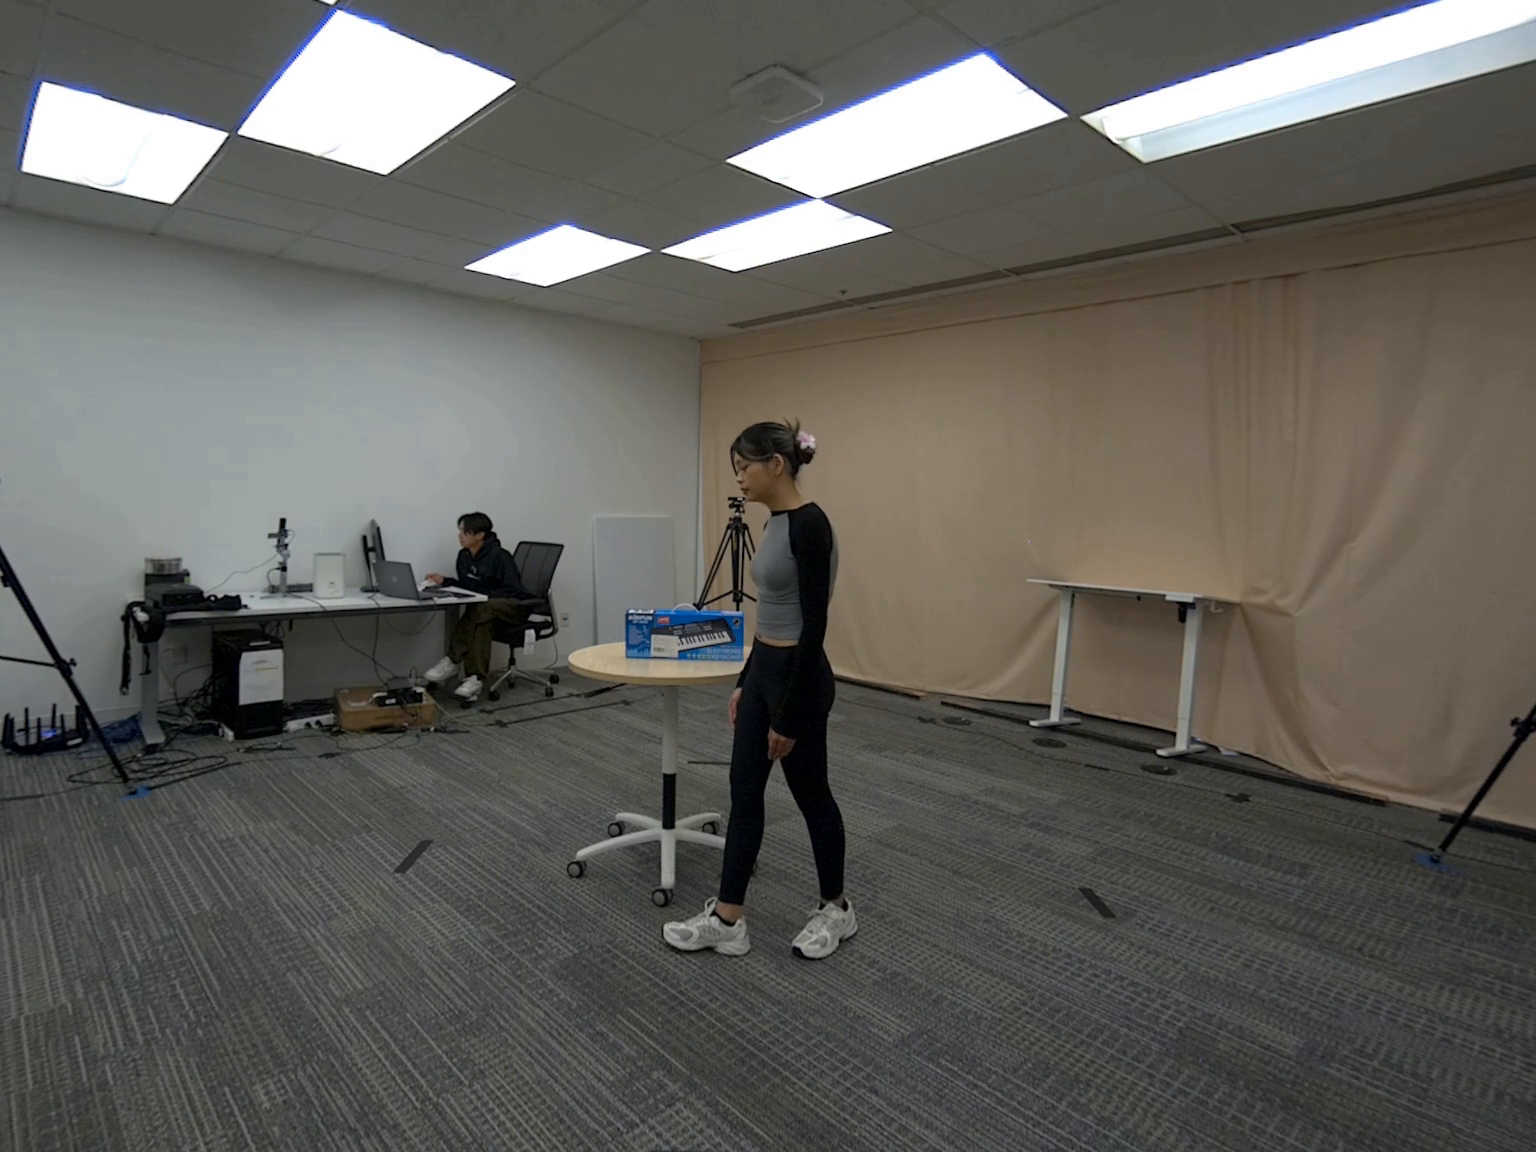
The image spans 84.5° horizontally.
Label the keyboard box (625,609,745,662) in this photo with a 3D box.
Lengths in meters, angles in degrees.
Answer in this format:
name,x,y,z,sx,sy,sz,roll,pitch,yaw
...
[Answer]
name,x,y,z,sx,sy,sz,roll,pitch,yaw
keyboard box,-0.314,0.215,3.115,0.438,0.175,0.059,2,6,3
